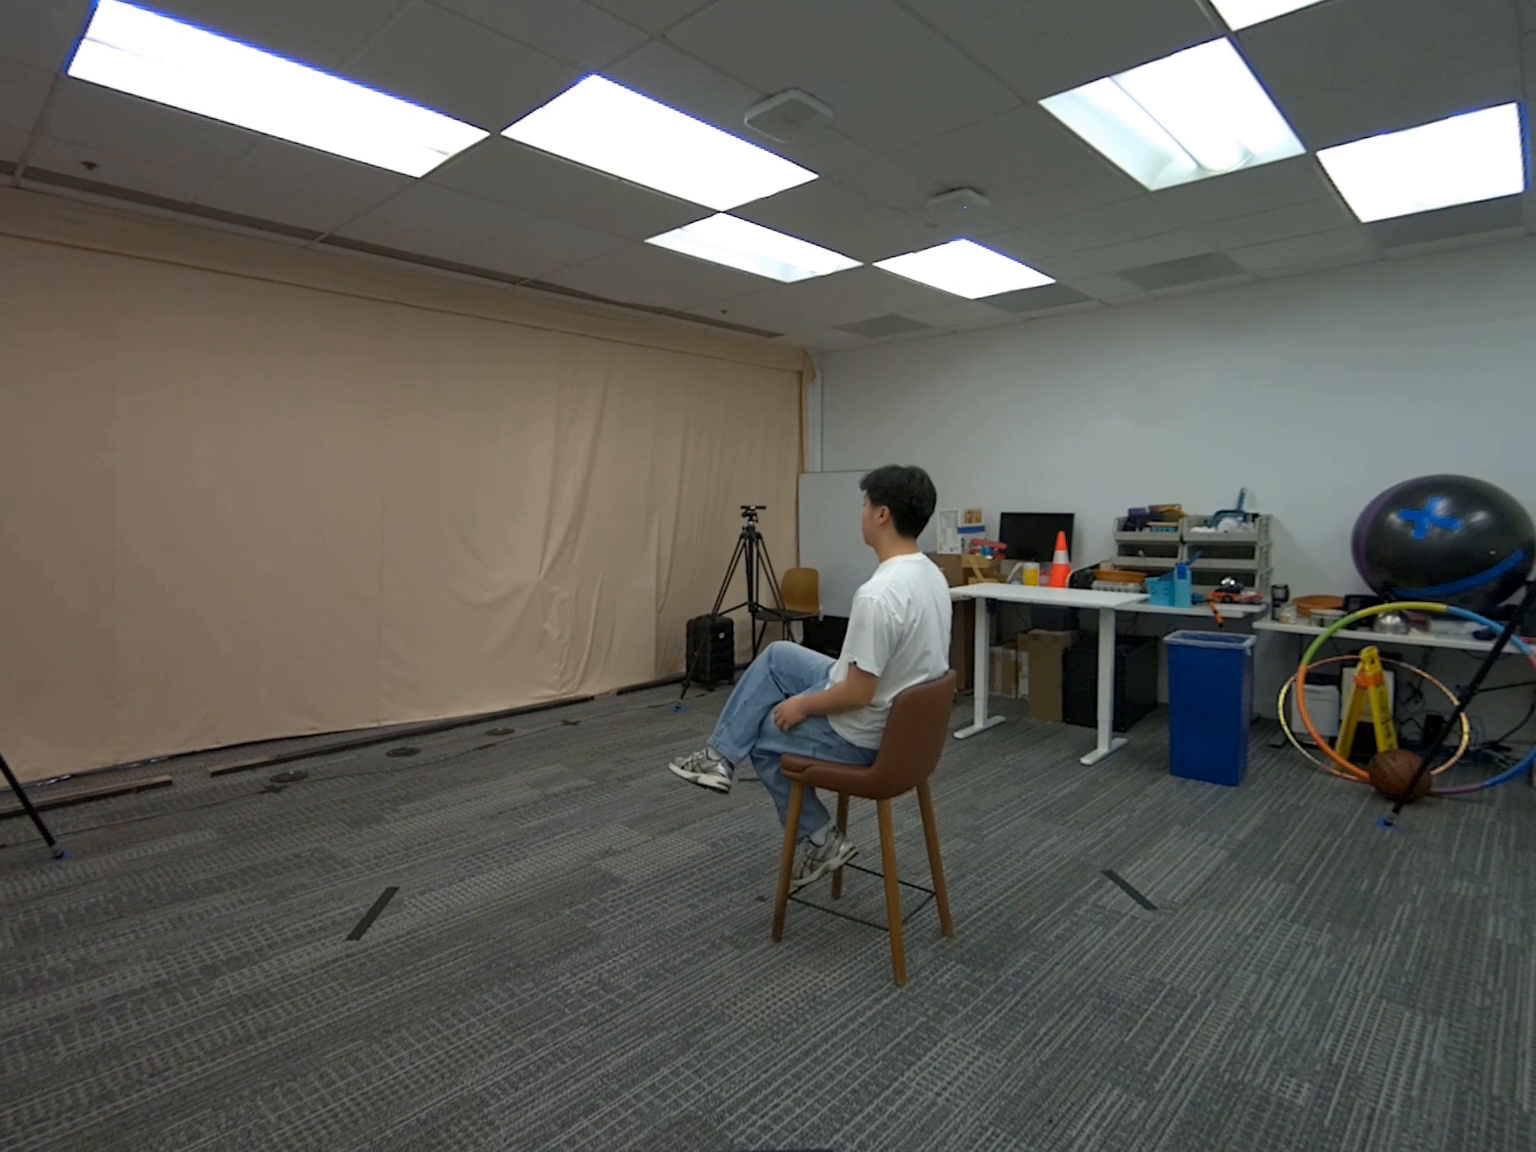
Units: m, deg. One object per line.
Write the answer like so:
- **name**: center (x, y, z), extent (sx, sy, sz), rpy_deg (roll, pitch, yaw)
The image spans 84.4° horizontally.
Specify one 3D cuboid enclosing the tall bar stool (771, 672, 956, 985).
- **tall bar stool**: center (0.322, 0.734, 2.684), extent (0.483, 0.887, 0.443), rpy_deg (5, 7, 36)
